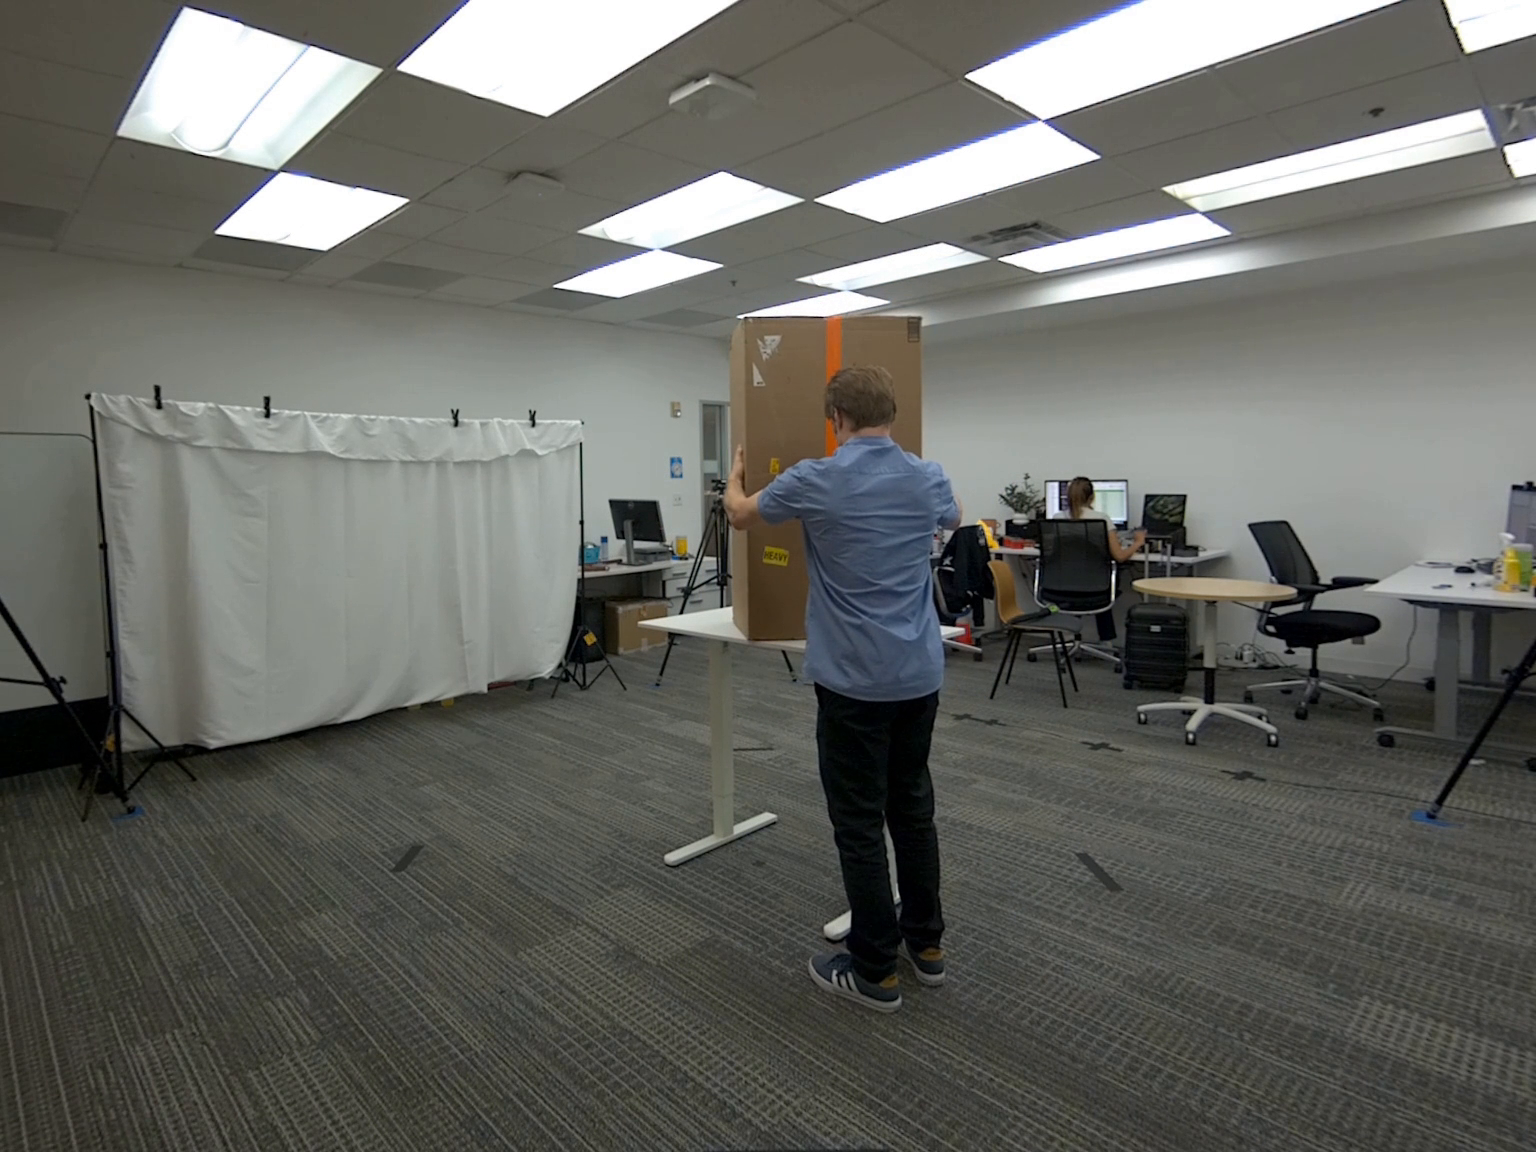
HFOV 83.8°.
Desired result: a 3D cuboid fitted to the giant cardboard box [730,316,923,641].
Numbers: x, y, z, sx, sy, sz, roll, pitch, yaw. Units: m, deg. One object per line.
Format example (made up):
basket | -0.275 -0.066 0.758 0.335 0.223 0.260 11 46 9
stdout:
giant cardboard box | 0.183 -0.328 2.914 0.574 1.023 0.430 -1 3 -7
